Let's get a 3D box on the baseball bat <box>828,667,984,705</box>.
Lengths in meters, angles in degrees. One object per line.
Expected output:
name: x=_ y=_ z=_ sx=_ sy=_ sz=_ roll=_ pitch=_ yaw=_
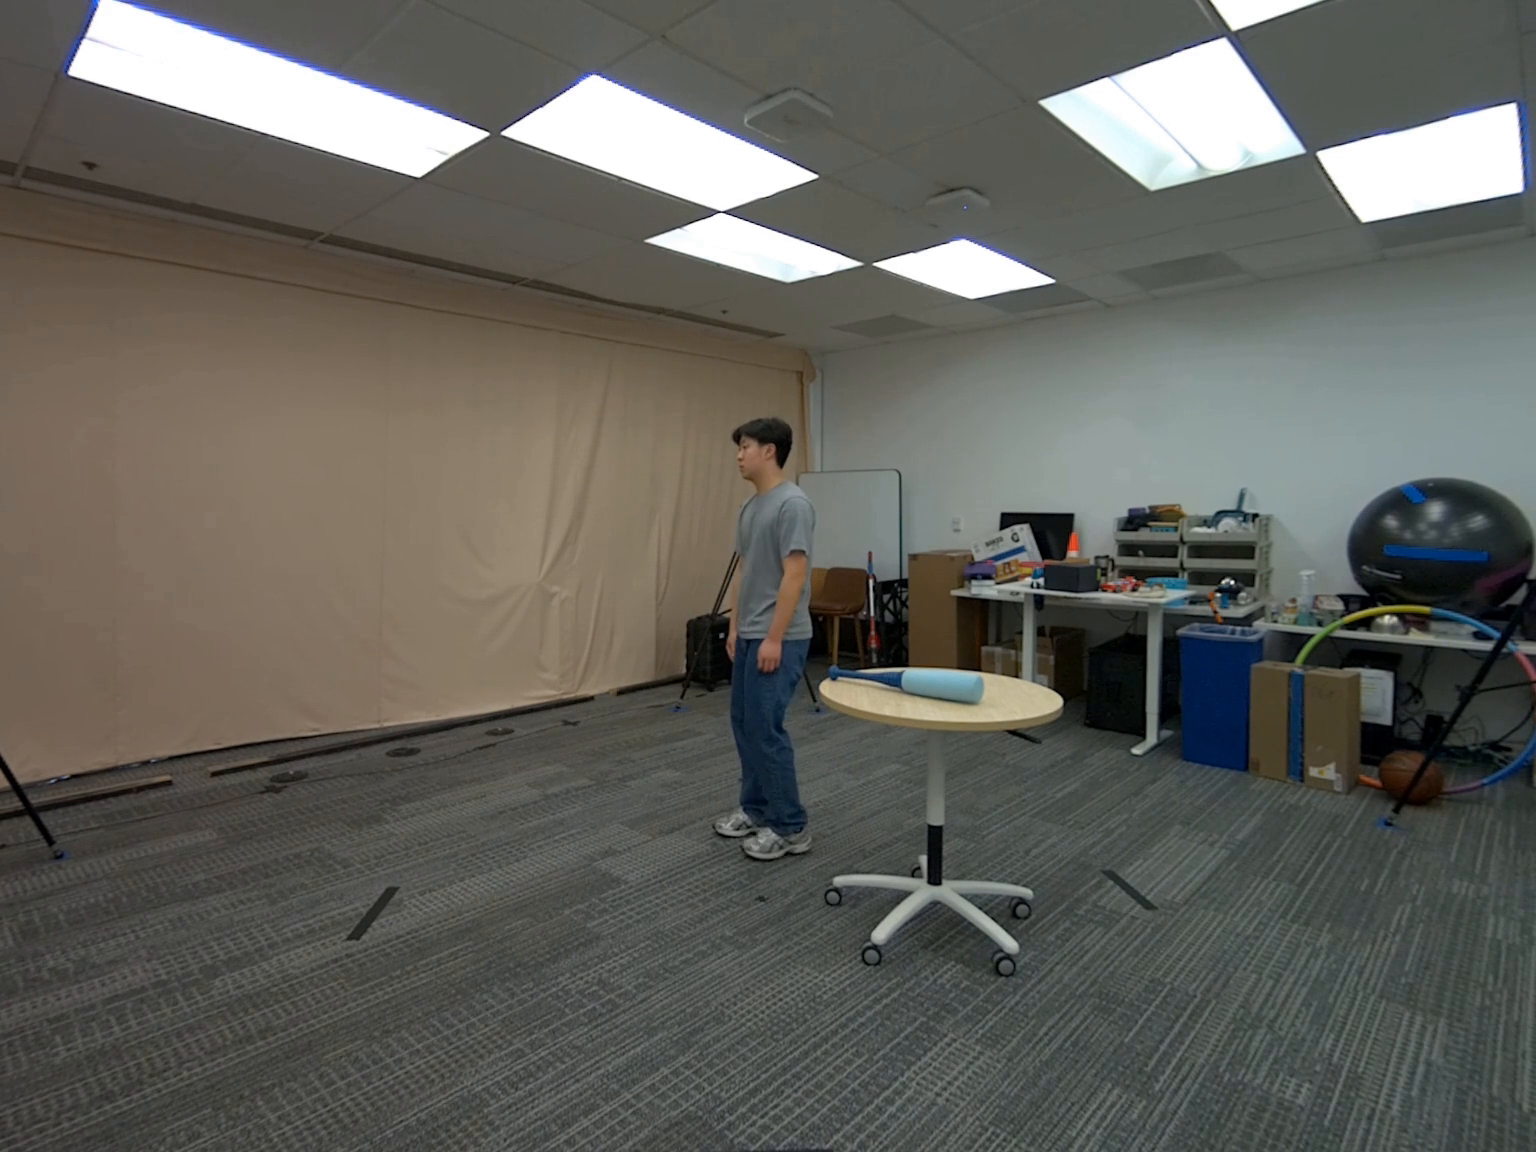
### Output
baseball bat: x=0.434 y=0.340 z=2.743 sx=0.560 sy=0.089 sz=0.086 roll=2 pitch=4 yaw=39
